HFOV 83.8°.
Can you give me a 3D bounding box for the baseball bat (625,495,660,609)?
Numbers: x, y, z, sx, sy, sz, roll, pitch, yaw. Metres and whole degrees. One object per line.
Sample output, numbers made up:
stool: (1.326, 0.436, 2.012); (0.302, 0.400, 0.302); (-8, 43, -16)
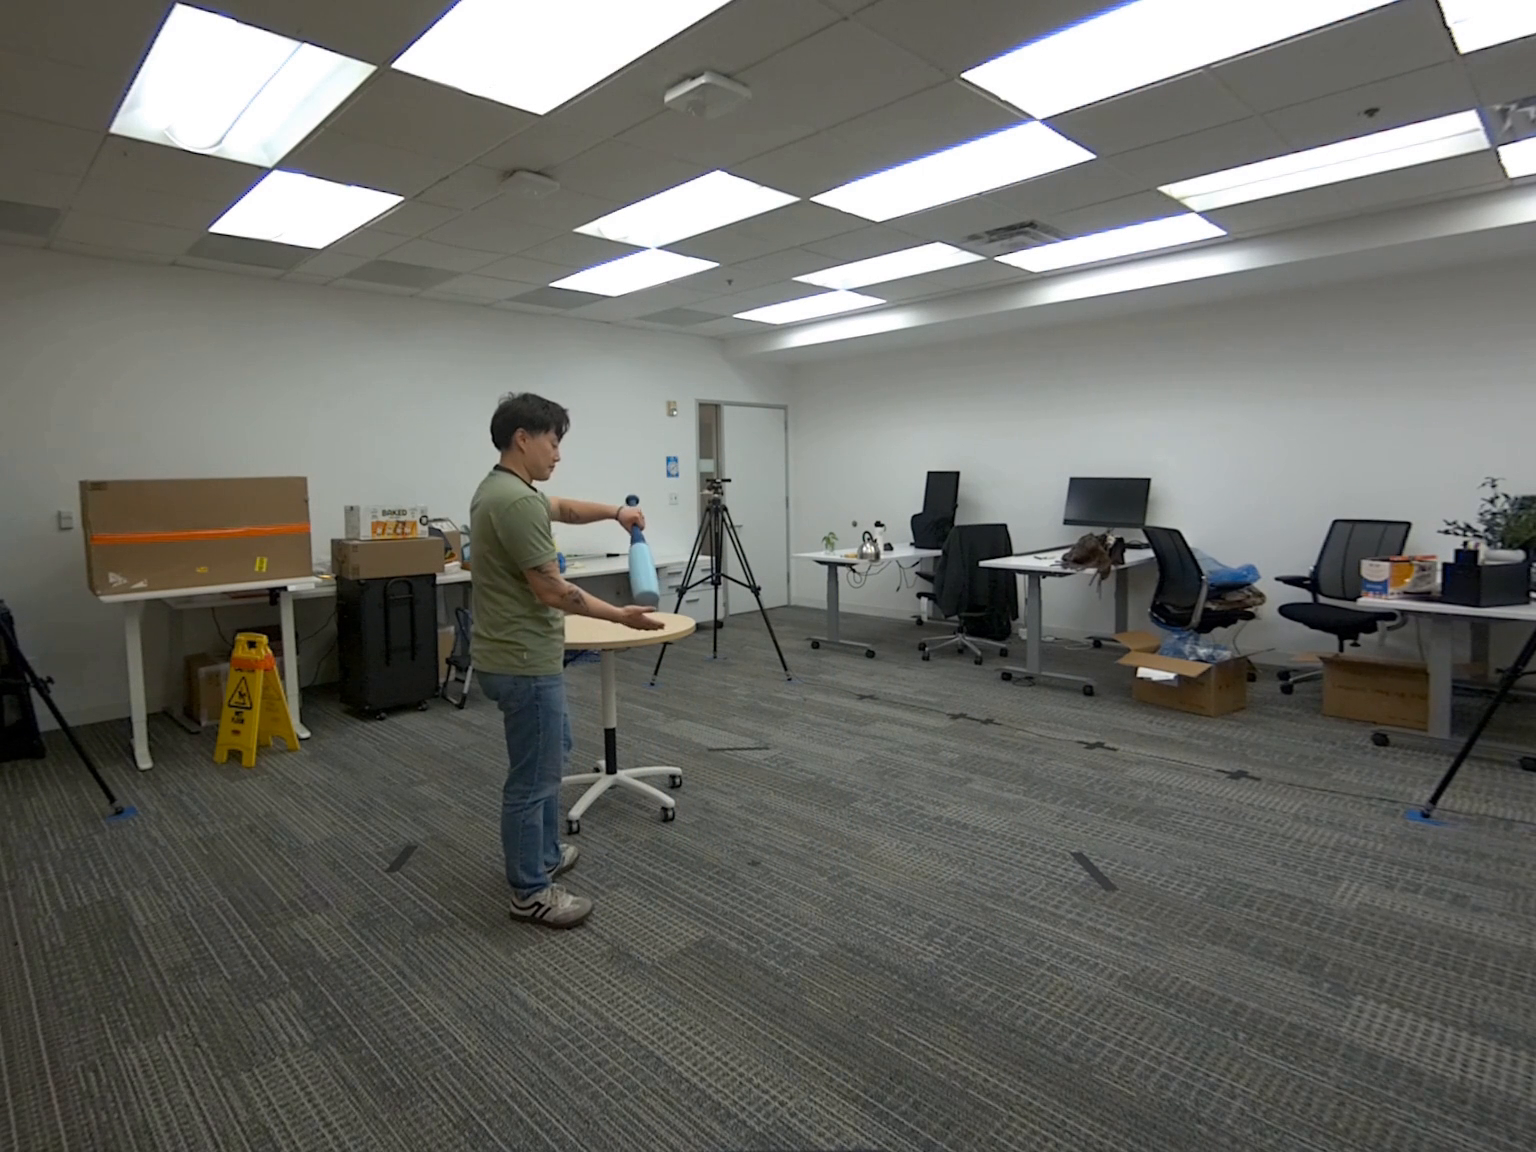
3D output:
baseball bat: (-0.446, -0.102, 2.961); (0.088, 0.087, 0.560); (-2, 42, -8)
